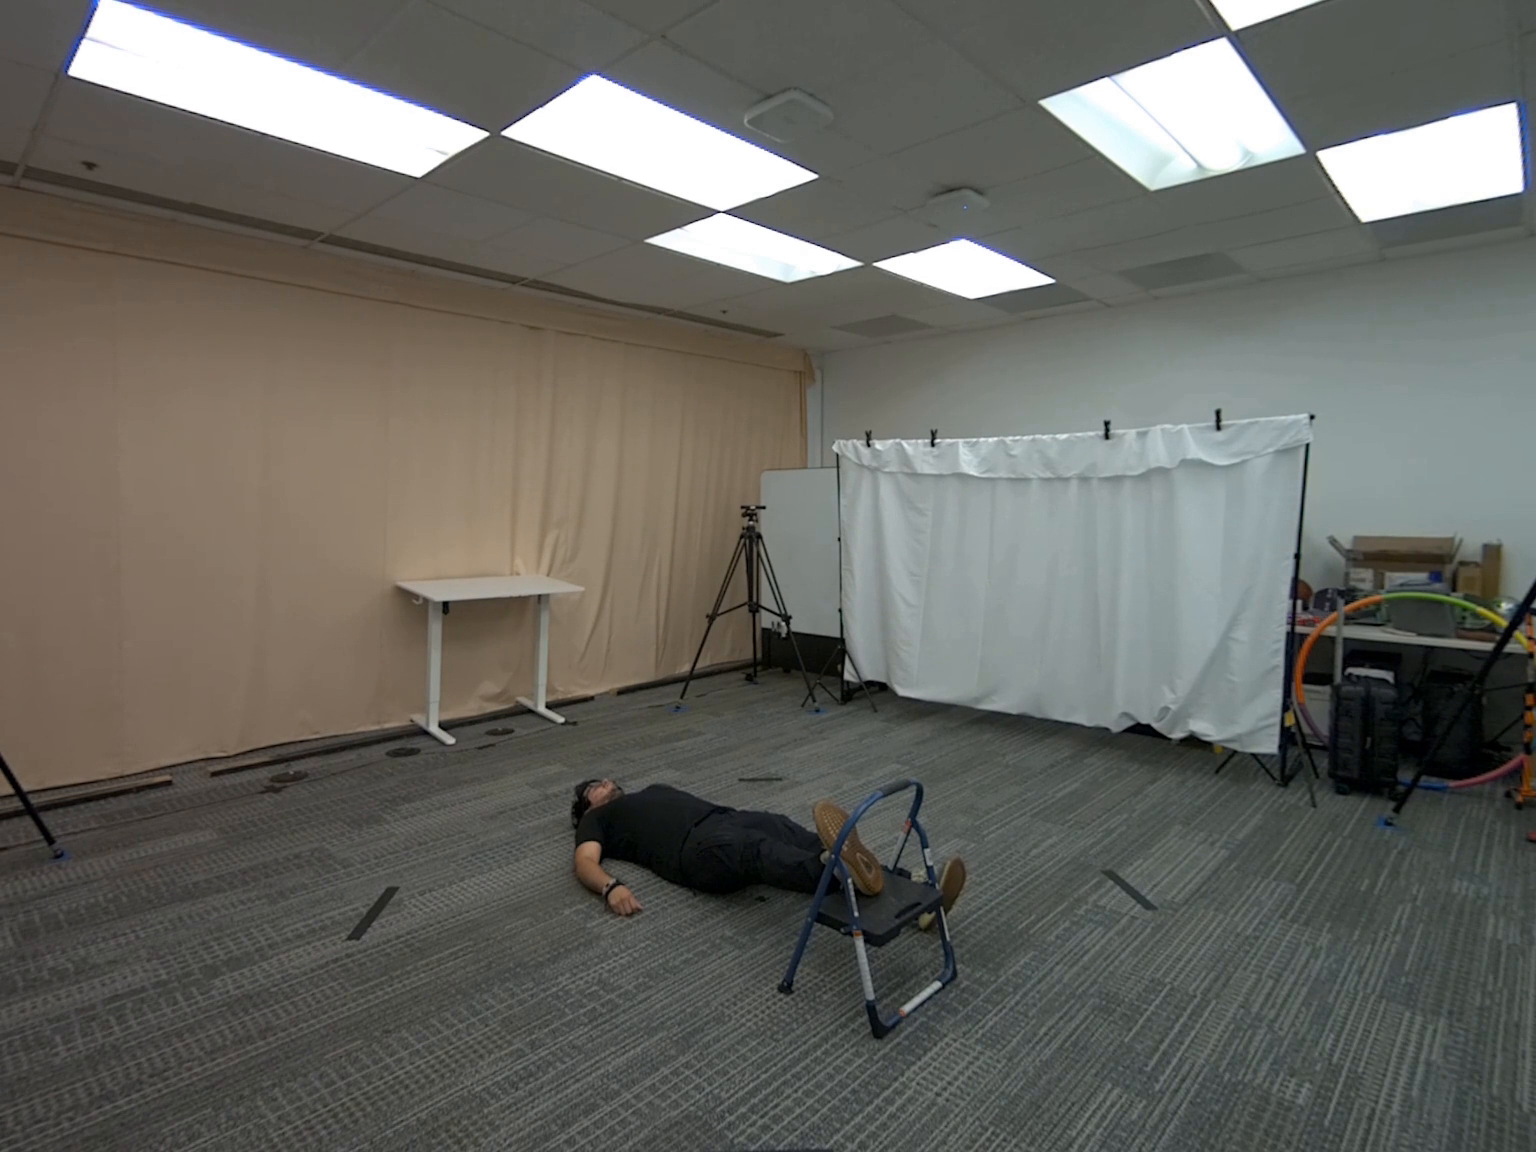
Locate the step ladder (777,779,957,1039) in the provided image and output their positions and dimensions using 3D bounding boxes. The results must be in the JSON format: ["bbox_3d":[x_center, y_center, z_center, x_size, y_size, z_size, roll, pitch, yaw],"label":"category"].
[{"bbox_3d":[0.302,0.887,2.433,0.361,0.604,0.417,4,6,42],"label":"step ladder"}]
